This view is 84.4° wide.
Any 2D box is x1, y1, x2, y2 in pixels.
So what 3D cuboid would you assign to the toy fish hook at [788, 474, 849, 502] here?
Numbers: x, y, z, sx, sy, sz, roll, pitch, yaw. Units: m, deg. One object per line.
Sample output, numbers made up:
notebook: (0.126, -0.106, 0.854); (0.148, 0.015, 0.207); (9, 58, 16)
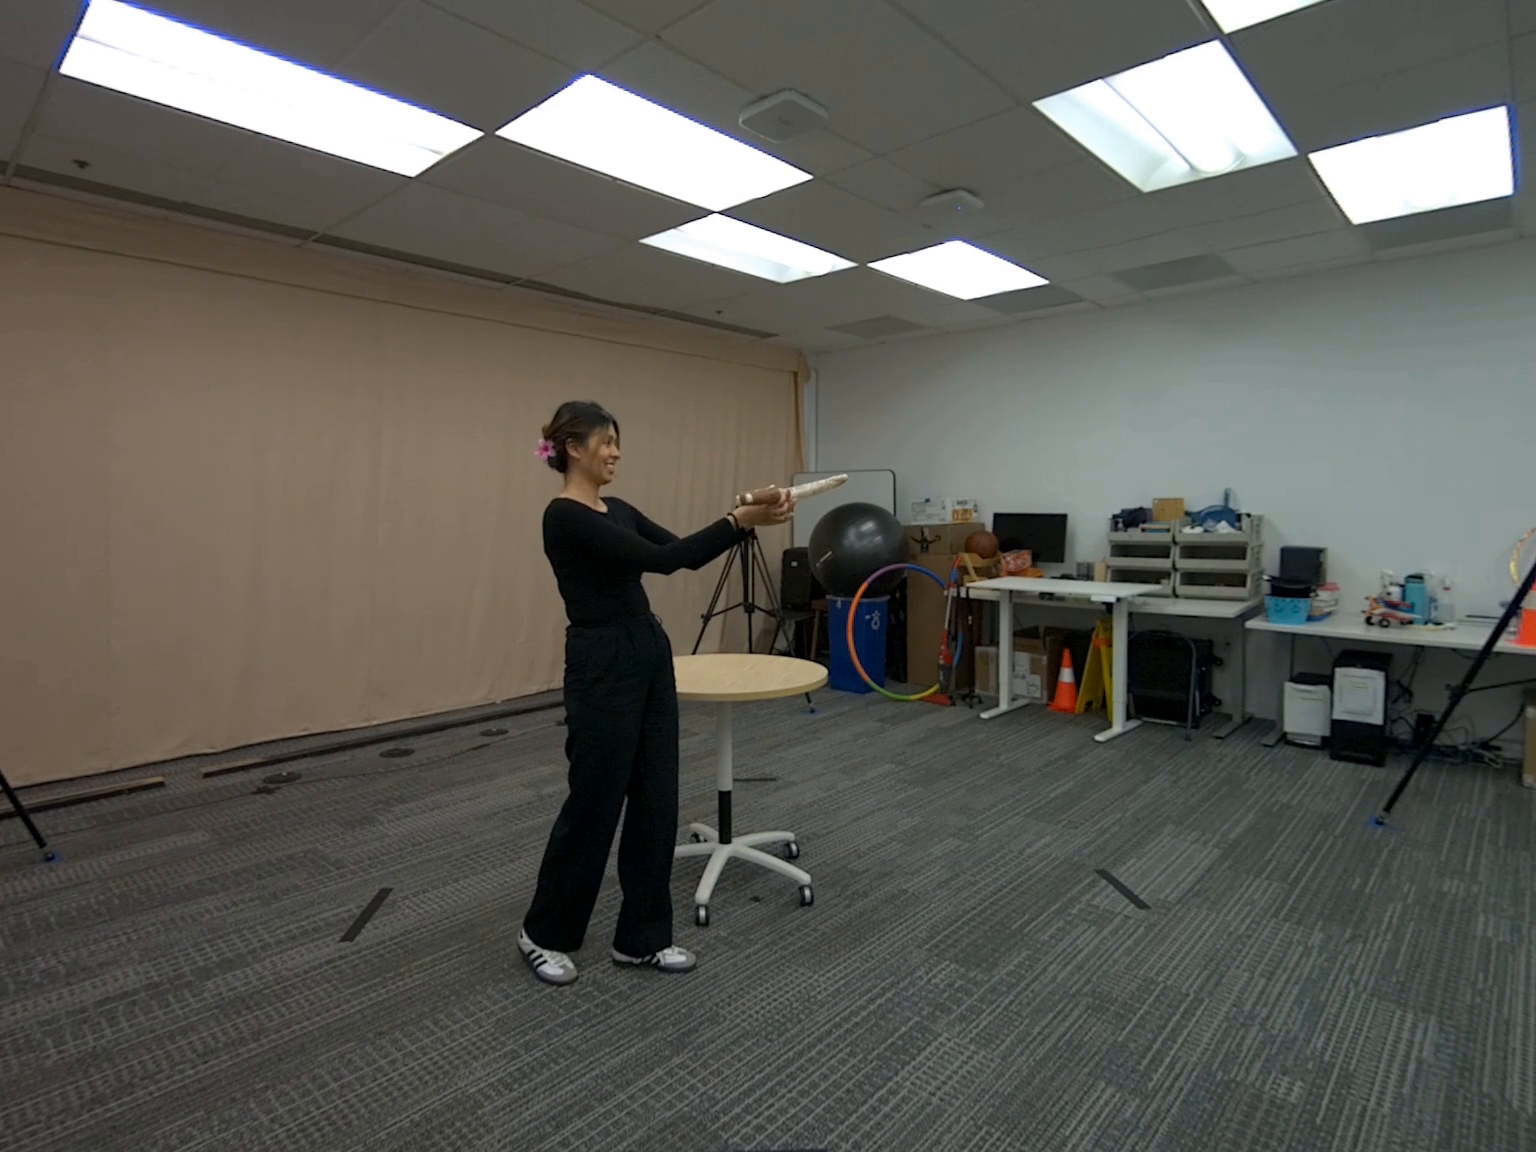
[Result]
toy fish hook: (0.090, -0.250, 2.359); (0.229, 0.048, 0.496); (-20, 0, 27)
